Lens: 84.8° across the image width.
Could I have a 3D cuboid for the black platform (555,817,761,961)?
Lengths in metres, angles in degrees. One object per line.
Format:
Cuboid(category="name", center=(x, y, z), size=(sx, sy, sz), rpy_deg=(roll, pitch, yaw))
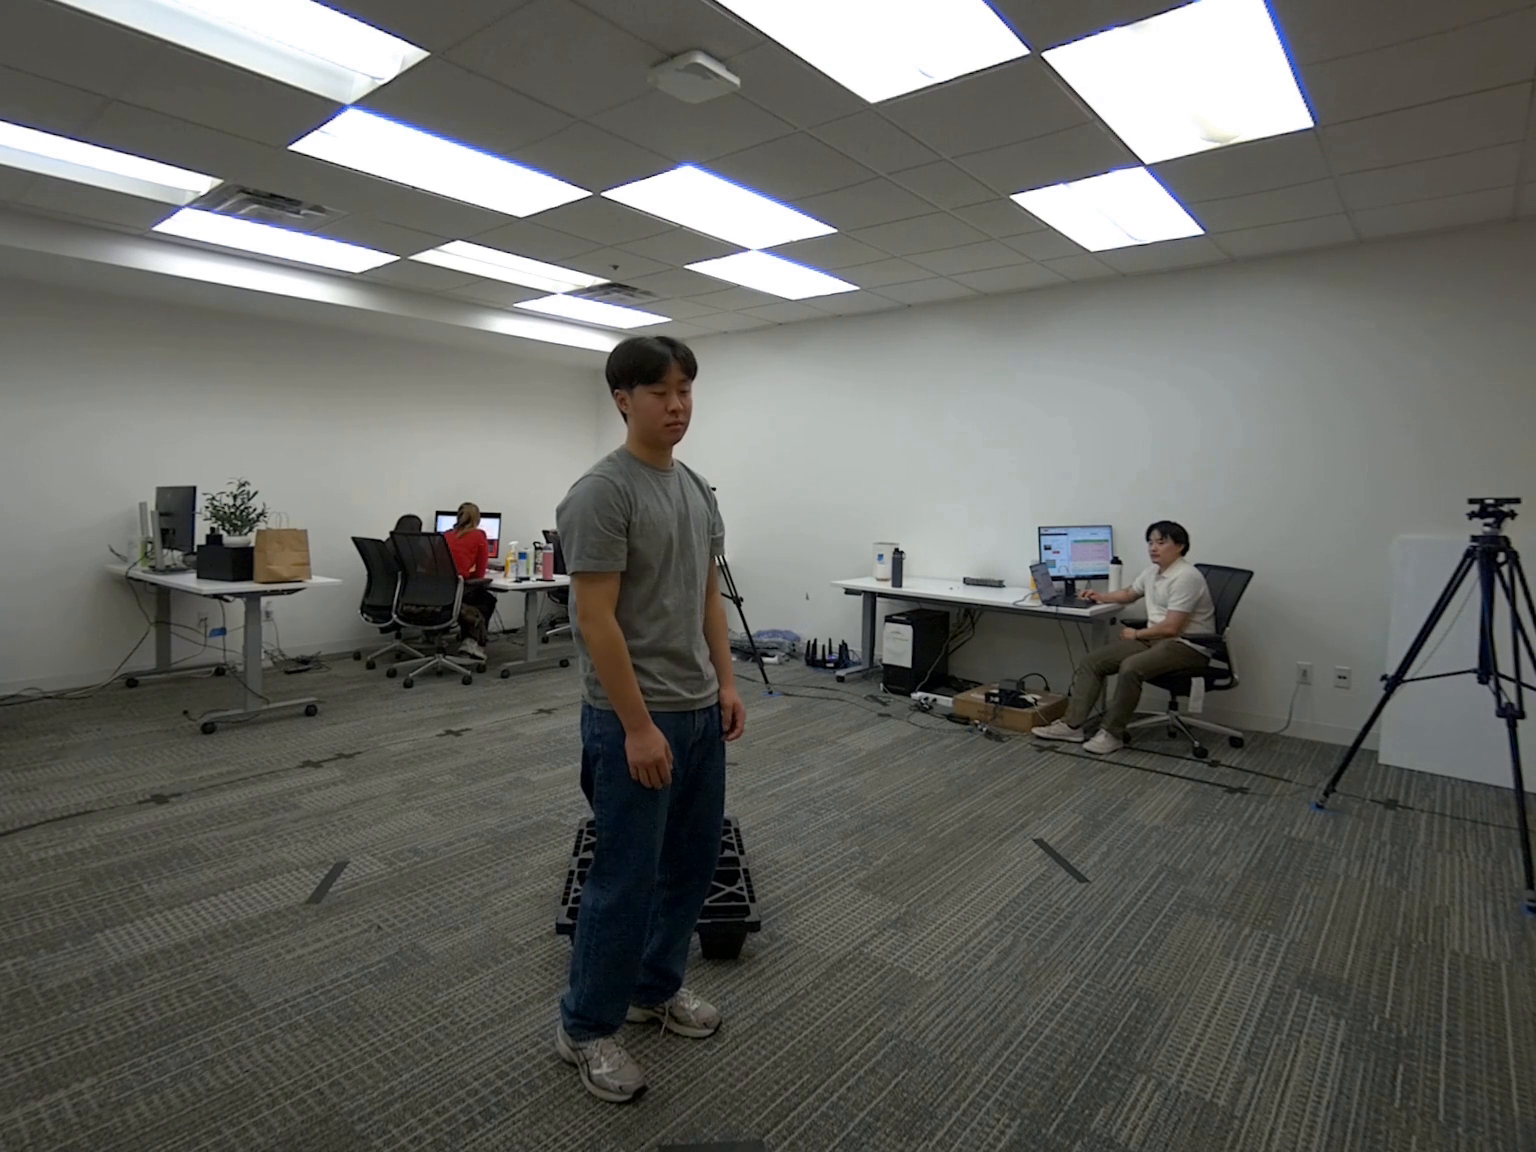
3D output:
Cuboid(category="black platform", center=(-0.368, 1.018, 2.851), size=(0.602, 0.143, 0.814), rpy_deg=(1, 6, -6))
